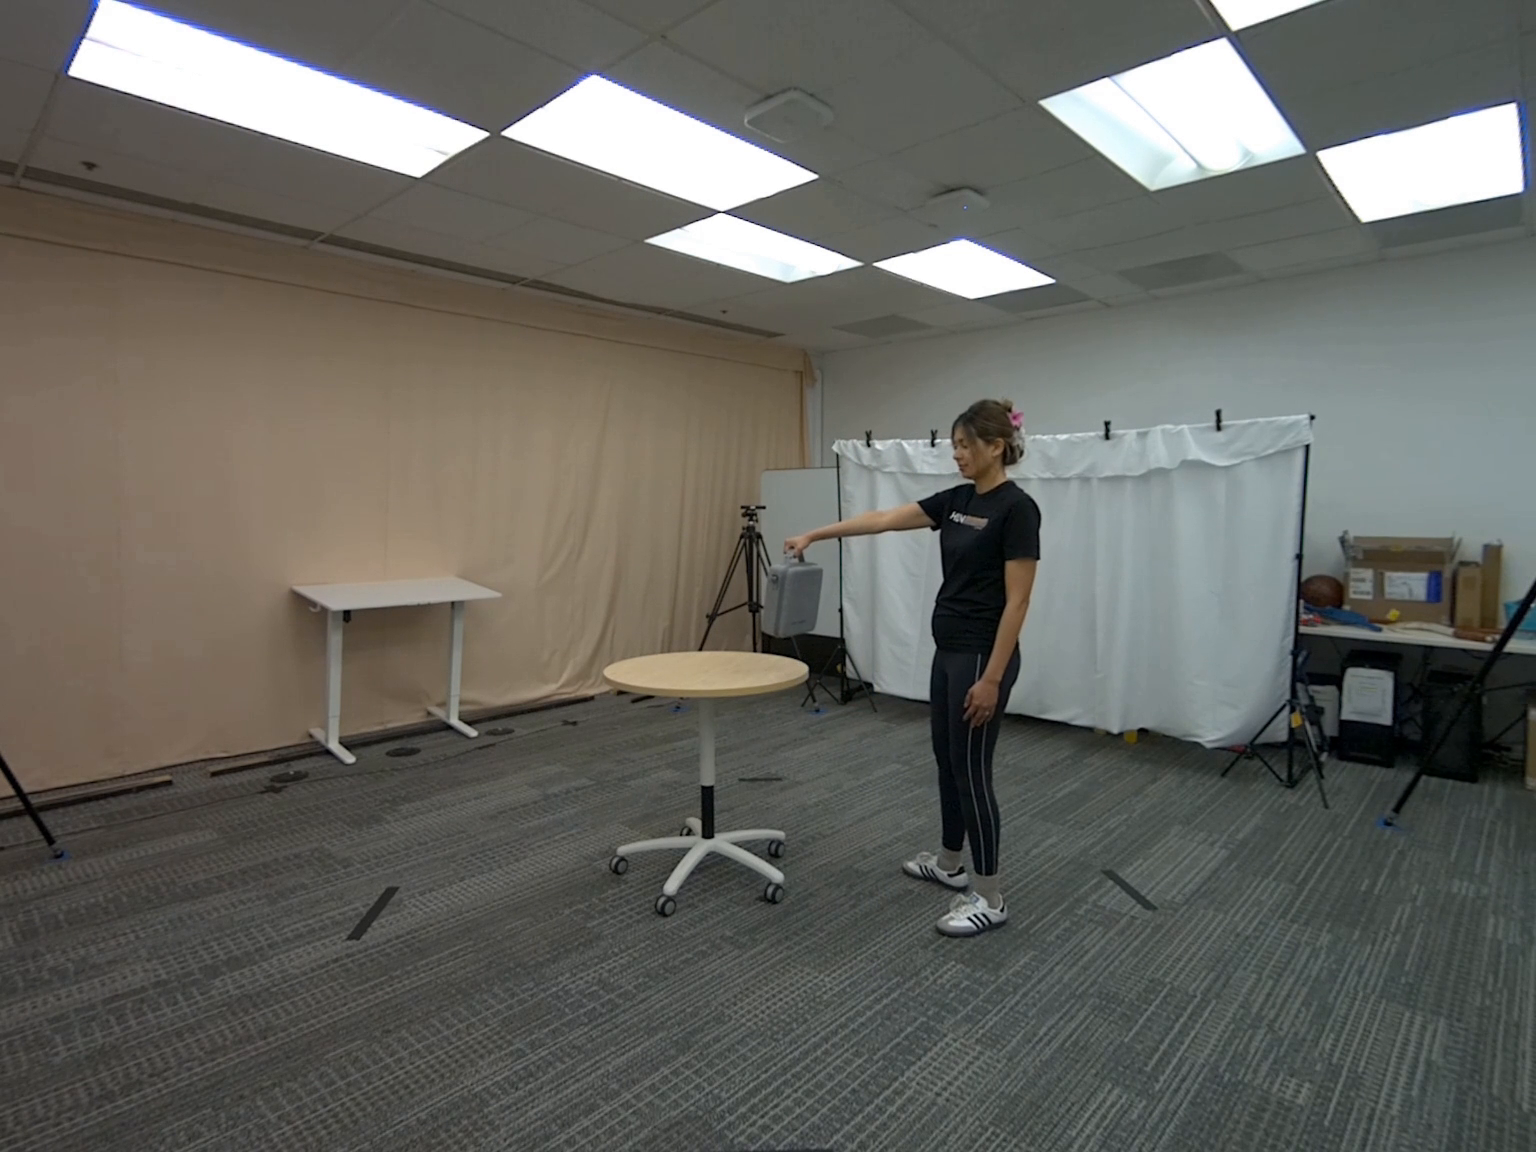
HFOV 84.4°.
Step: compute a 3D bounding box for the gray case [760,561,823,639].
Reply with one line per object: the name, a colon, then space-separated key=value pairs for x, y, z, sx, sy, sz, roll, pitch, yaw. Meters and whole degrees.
gray case: x=0.092 y=0.079 z=3.010 sx=0.107 sy=0.260 sz=0.250 roll=10 pitch=7 yaw=25
